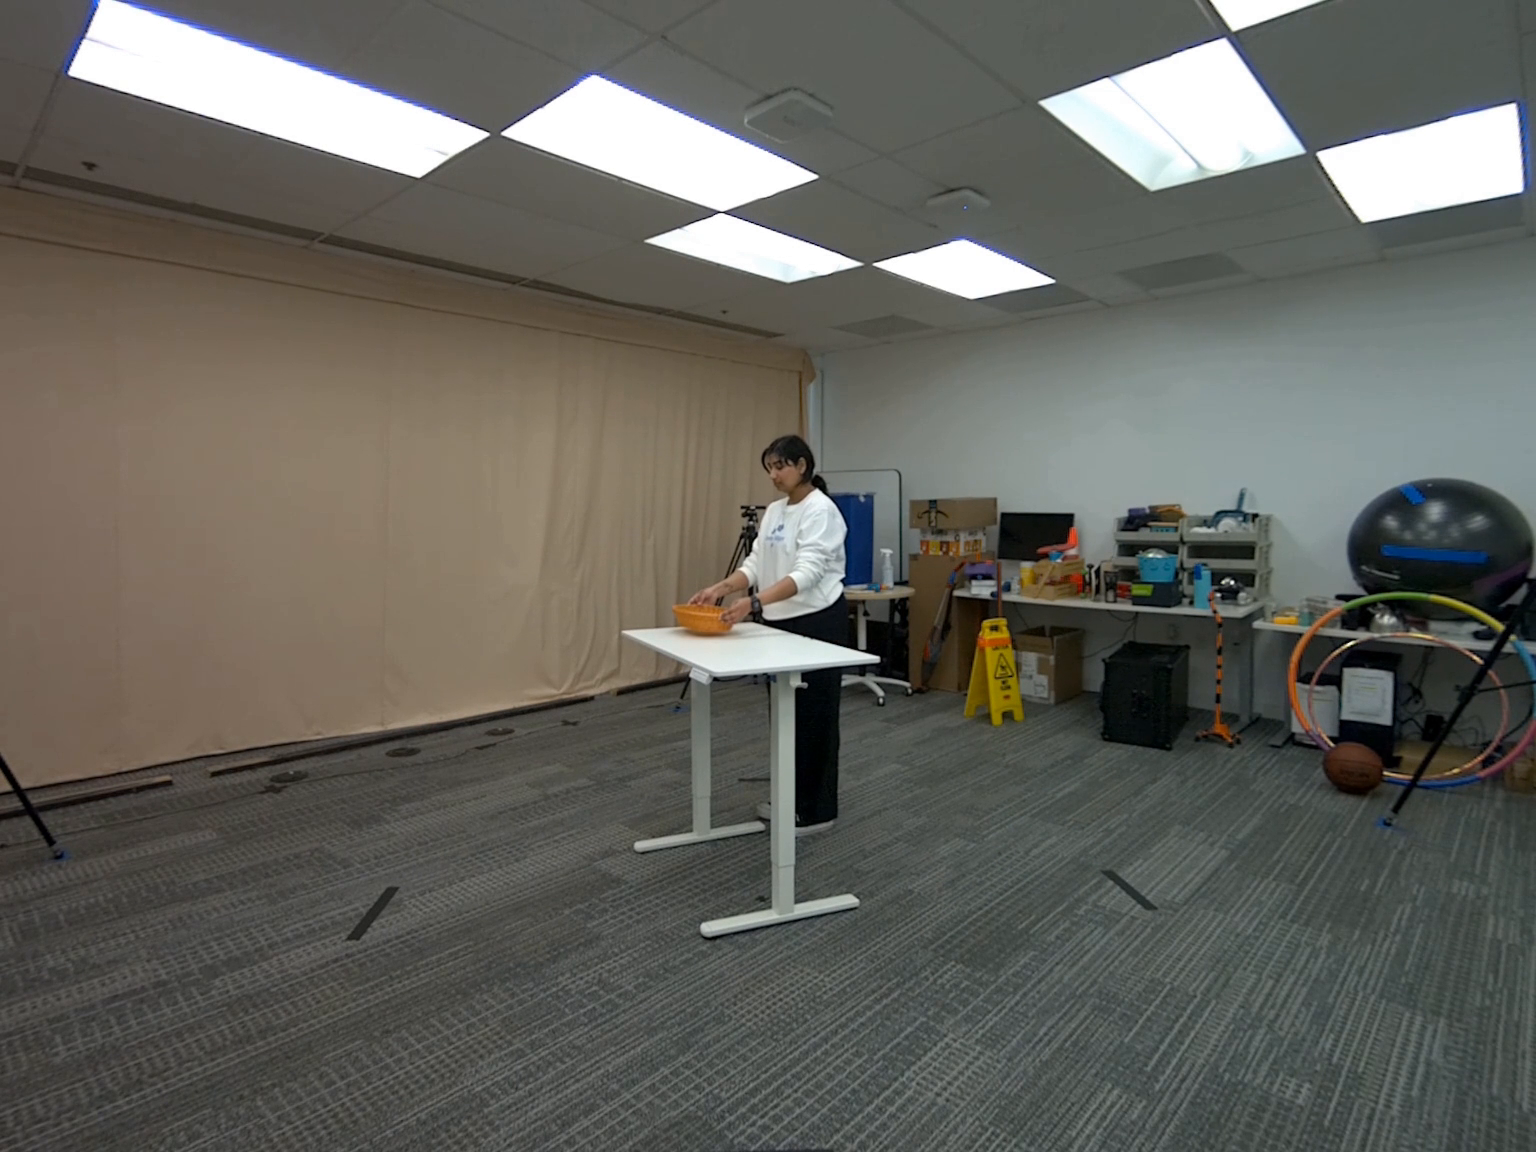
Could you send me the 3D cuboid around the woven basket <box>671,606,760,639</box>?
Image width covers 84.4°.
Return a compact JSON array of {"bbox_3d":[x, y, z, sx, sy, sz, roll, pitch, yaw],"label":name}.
[{"bbox_3d":[-0.221,0.181,3.394,0.247,0.073,0.358,1,5,-21],"label":"woven basket"}]
